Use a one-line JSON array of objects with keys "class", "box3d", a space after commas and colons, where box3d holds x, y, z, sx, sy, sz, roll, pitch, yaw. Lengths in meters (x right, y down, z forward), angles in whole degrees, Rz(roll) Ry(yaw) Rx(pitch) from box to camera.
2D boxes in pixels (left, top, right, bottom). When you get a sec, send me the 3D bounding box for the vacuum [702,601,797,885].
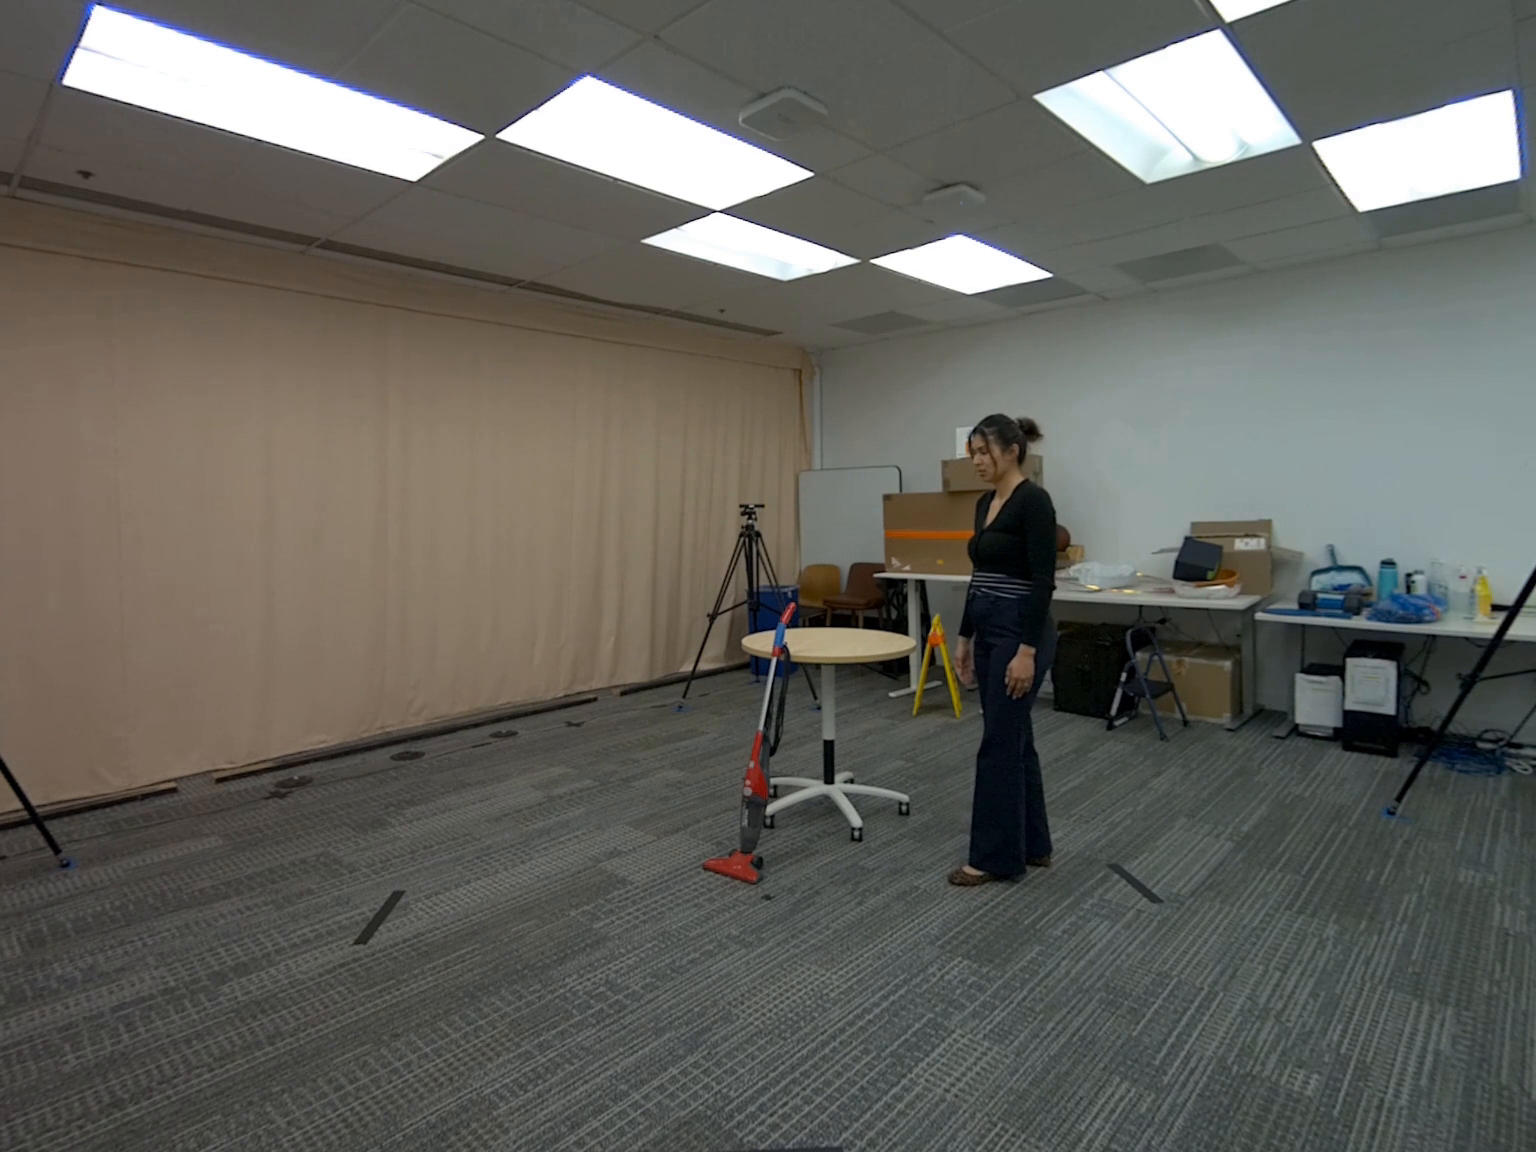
[{"class": "vacuum", "box3d": [-0.005, 0.626, 3.346, 0.261, 1.055, 0.139, 1, -19, 38]}]
